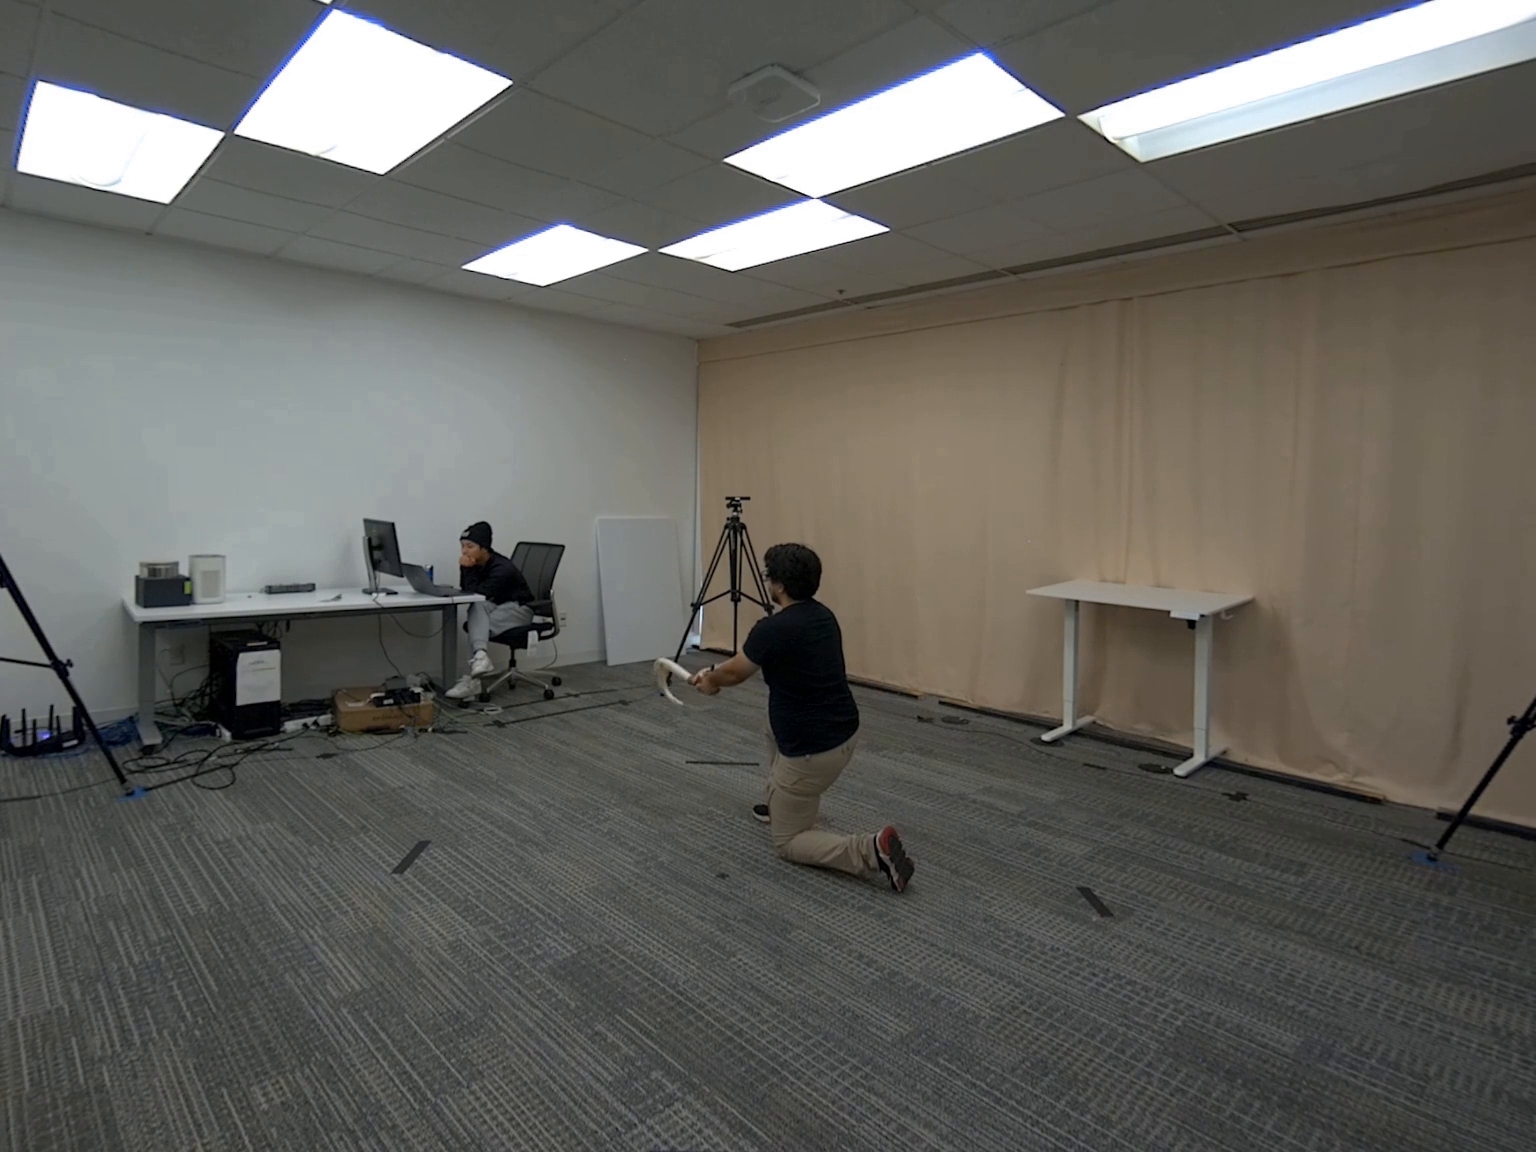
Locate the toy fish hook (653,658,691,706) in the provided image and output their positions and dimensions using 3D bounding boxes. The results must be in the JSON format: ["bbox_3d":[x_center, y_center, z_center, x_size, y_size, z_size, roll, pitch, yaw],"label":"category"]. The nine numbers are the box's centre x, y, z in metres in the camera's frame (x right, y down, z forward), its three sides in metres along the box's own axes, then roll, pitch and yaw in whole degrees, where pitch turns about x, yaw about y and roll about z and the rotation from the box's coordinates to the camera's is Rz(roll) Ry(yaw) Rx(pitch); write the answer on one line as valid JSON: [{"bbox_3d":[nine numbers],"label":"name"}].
[{"bbox_3d":[-0.372,0.494,3.770,0.048,0.221,0.520,-22,19,-33],"label":"toy fish hook"}]
